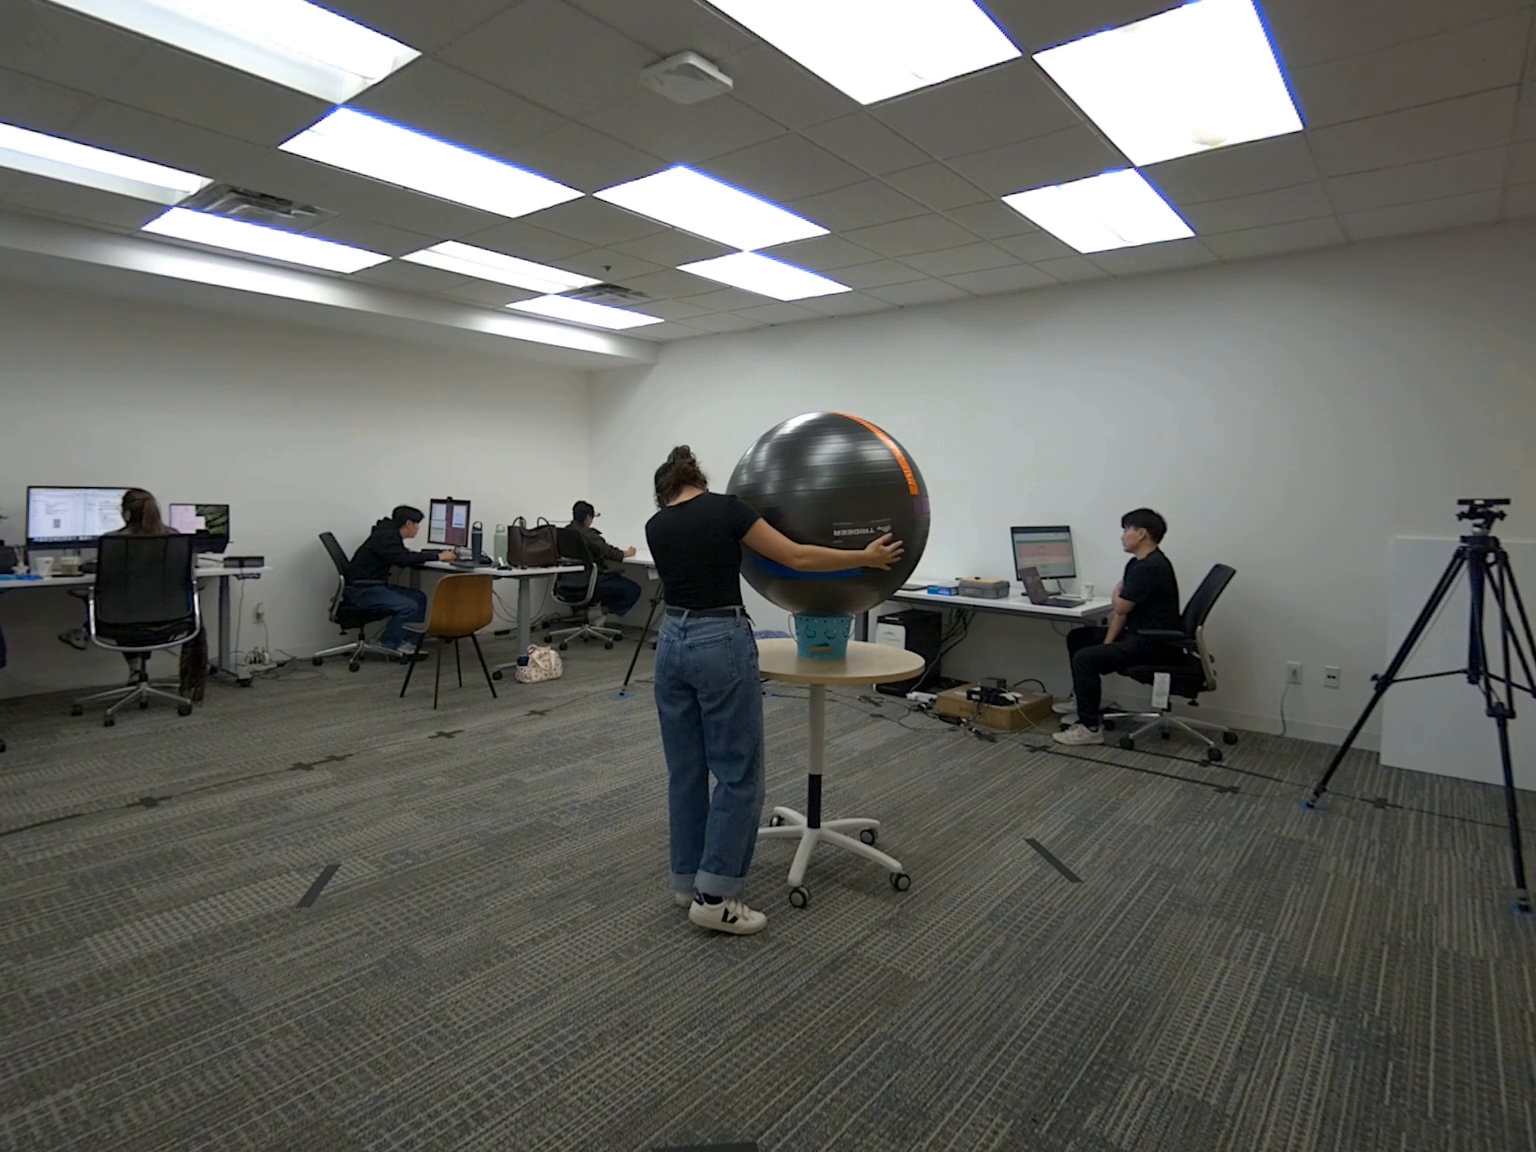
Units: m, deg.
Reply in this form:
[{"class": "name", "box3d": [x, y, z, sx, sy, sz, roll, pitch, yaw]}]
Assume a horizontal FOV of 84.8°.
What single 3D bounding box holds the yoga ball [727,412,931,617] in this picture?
[{"class": "yoga ball", "box3d": [0.205, -0.225, 3.157, 0.757, 0.756, 0.762, 1, 4, -2]}]
